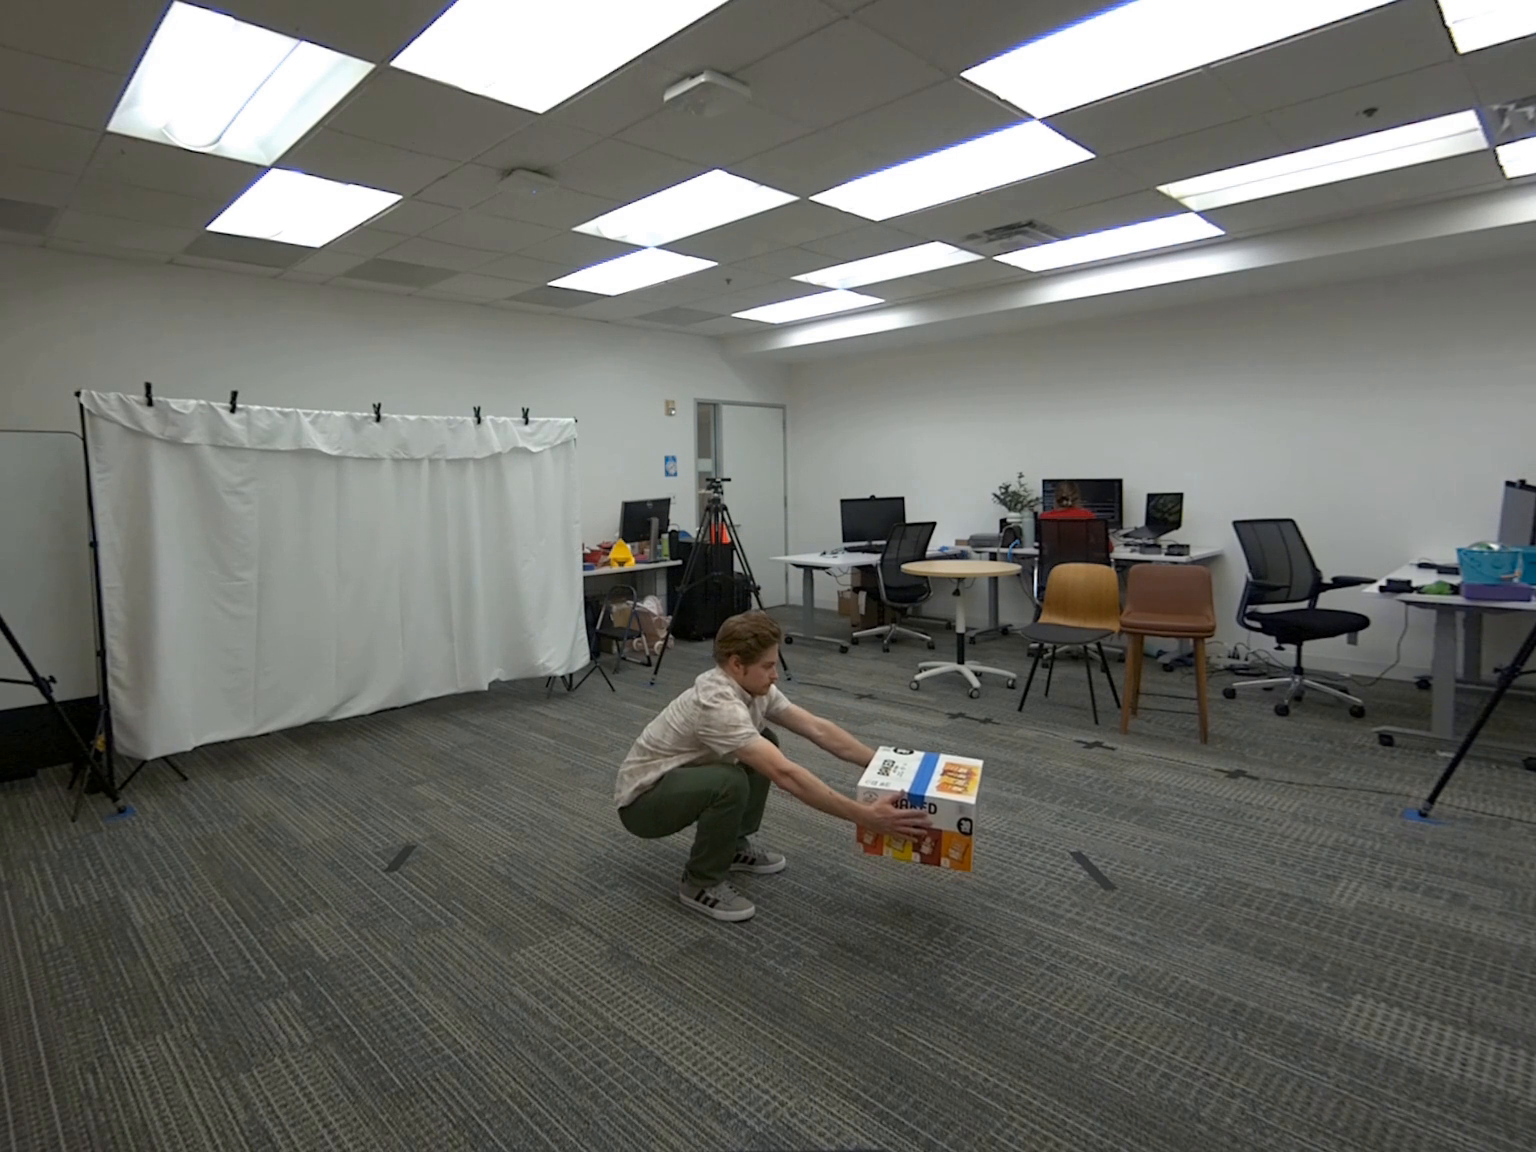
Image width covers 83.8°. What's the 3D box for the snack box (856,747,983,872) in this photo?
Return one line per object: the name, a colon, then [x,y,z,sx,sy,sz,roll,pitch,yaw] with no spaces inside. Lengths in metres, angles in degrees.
snack box: [0.480,0.706,2.682,0.347,0.204,0.399,4,7,18]
